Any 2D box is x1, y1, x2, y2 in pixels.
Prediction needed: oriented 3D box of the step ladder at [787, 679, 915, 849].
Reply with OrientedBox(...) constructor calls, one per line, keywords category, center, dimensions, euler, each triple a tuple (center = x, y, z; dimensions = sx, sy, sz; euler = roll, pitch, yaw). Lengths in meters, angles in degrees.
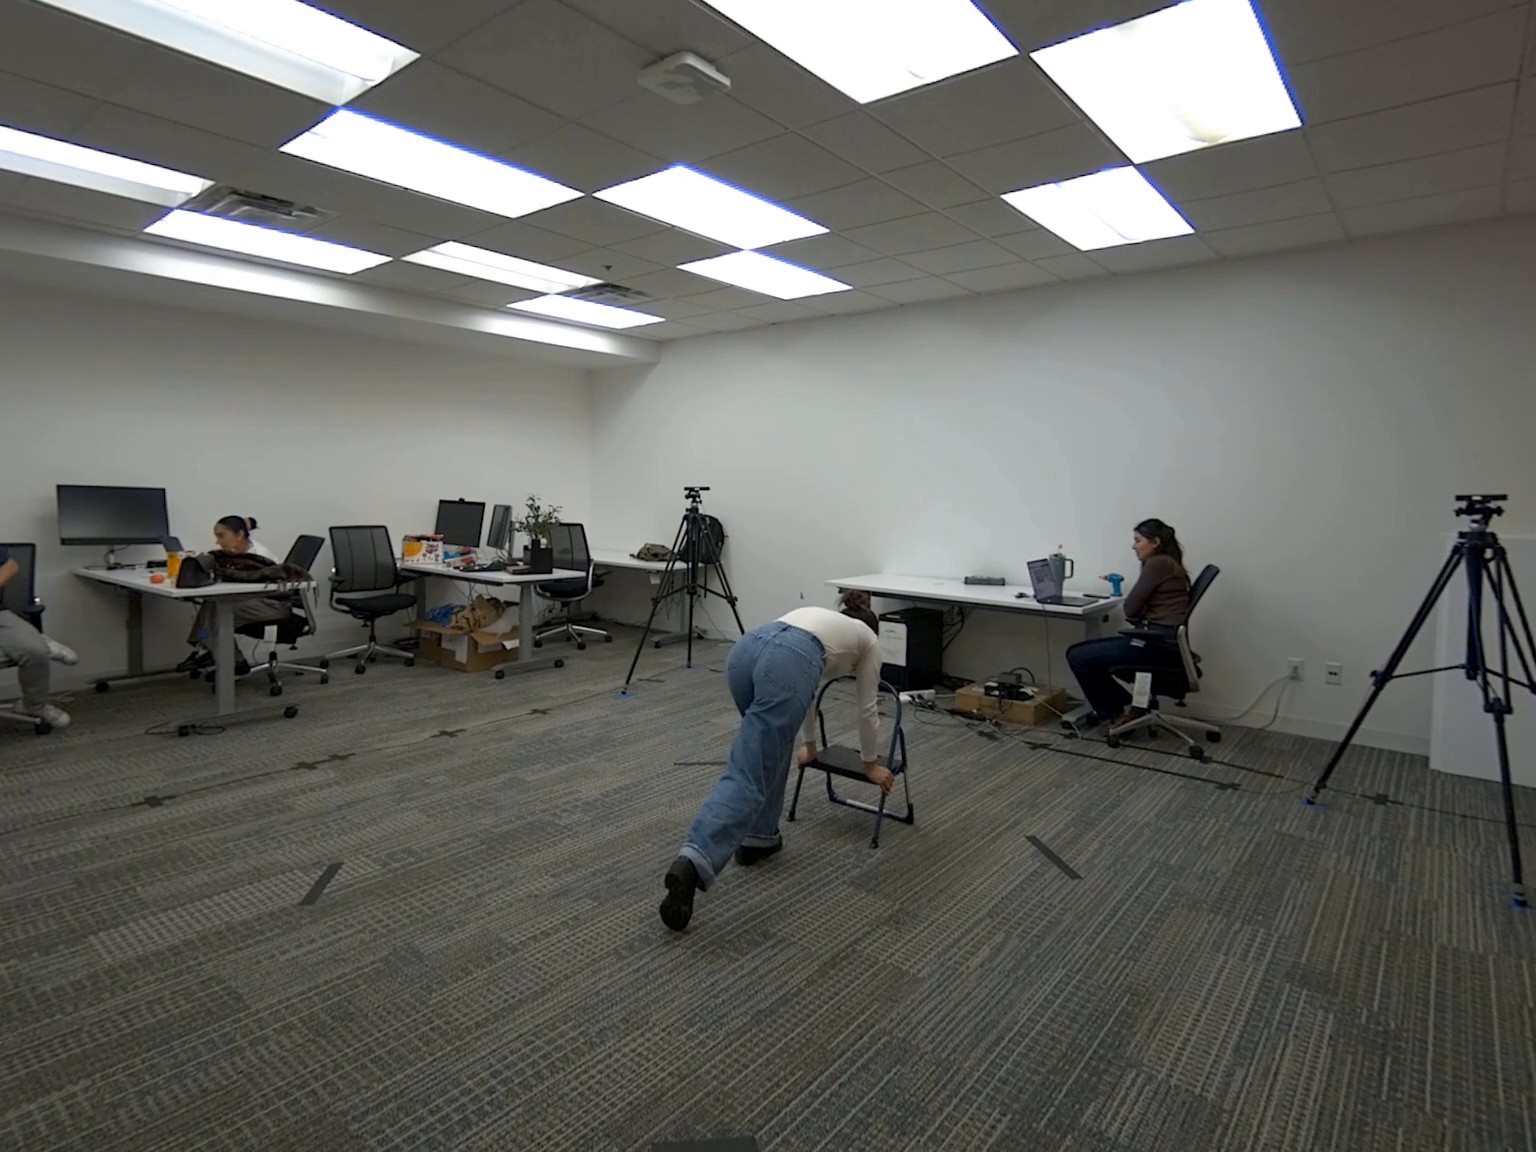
OrientedBox(category="step ladder", center=(0.351, 0.729, 3.561), dimensions=(0.445, 0.604, 0.339), euler=(4, 5, 38))
